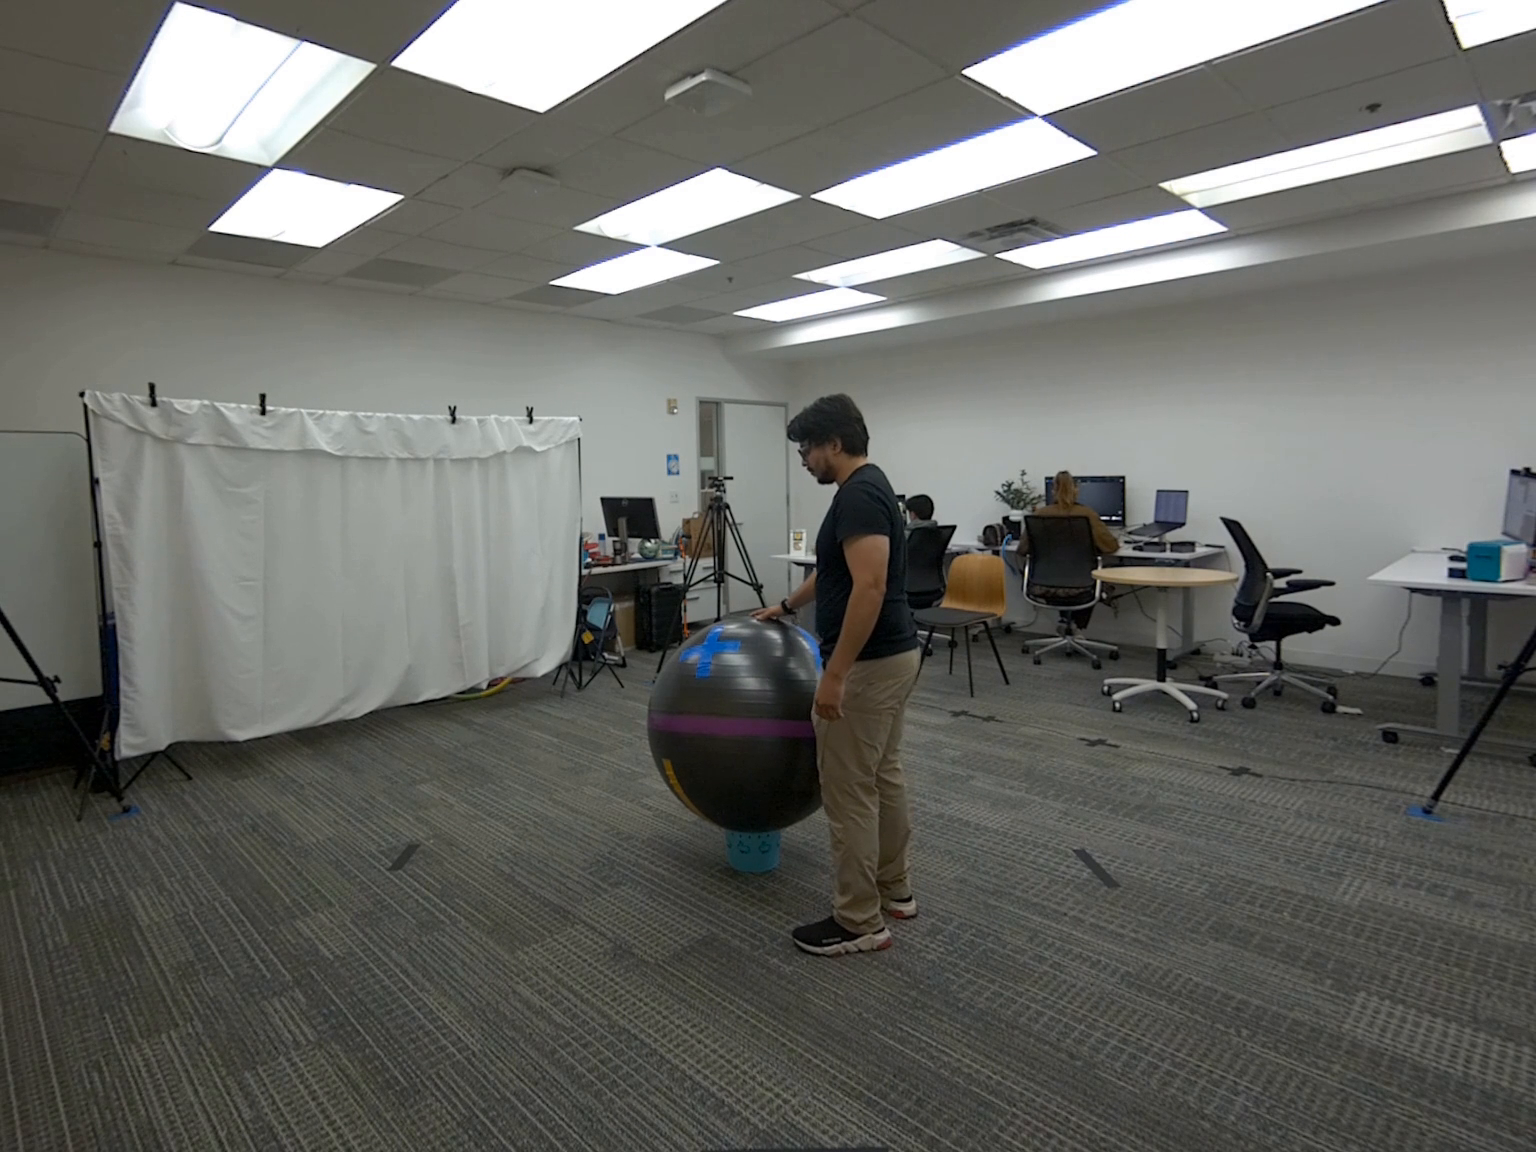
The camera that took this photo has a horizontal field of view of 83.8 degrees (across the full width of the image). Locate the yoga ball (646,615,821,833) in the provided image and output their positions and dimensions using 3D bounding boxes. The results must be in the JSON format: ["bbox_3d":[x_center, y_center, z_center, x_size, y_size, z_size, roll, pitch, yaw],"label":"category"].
[{"bbox_3d":[-0.064,0.532,3.095,0.757,0.755,0.762,-1,5,-2],"label":"yoga ball"}]
